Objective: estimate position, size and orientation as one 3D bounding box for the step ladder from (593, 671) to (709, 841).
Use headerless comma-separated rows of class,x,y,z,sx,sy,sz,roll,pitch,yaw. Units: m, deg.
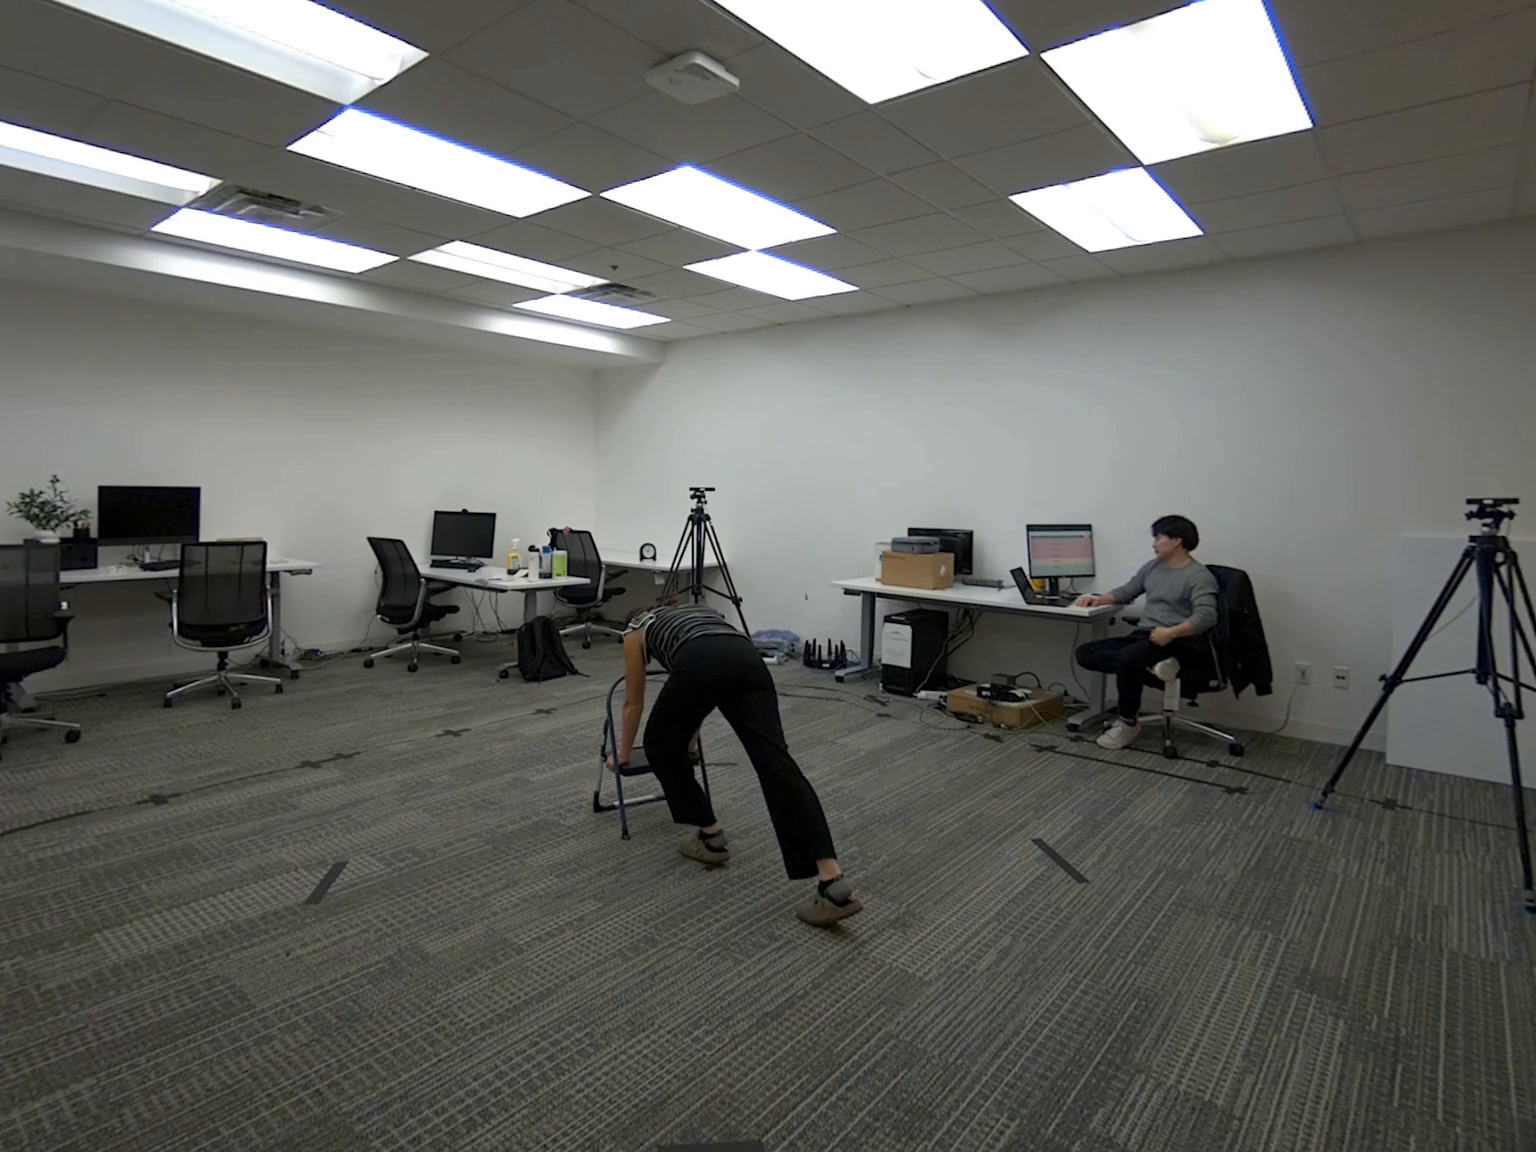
step ladder,-0.494,0.713,3.590,0.418,0.604,0.360,-1,4,-33
